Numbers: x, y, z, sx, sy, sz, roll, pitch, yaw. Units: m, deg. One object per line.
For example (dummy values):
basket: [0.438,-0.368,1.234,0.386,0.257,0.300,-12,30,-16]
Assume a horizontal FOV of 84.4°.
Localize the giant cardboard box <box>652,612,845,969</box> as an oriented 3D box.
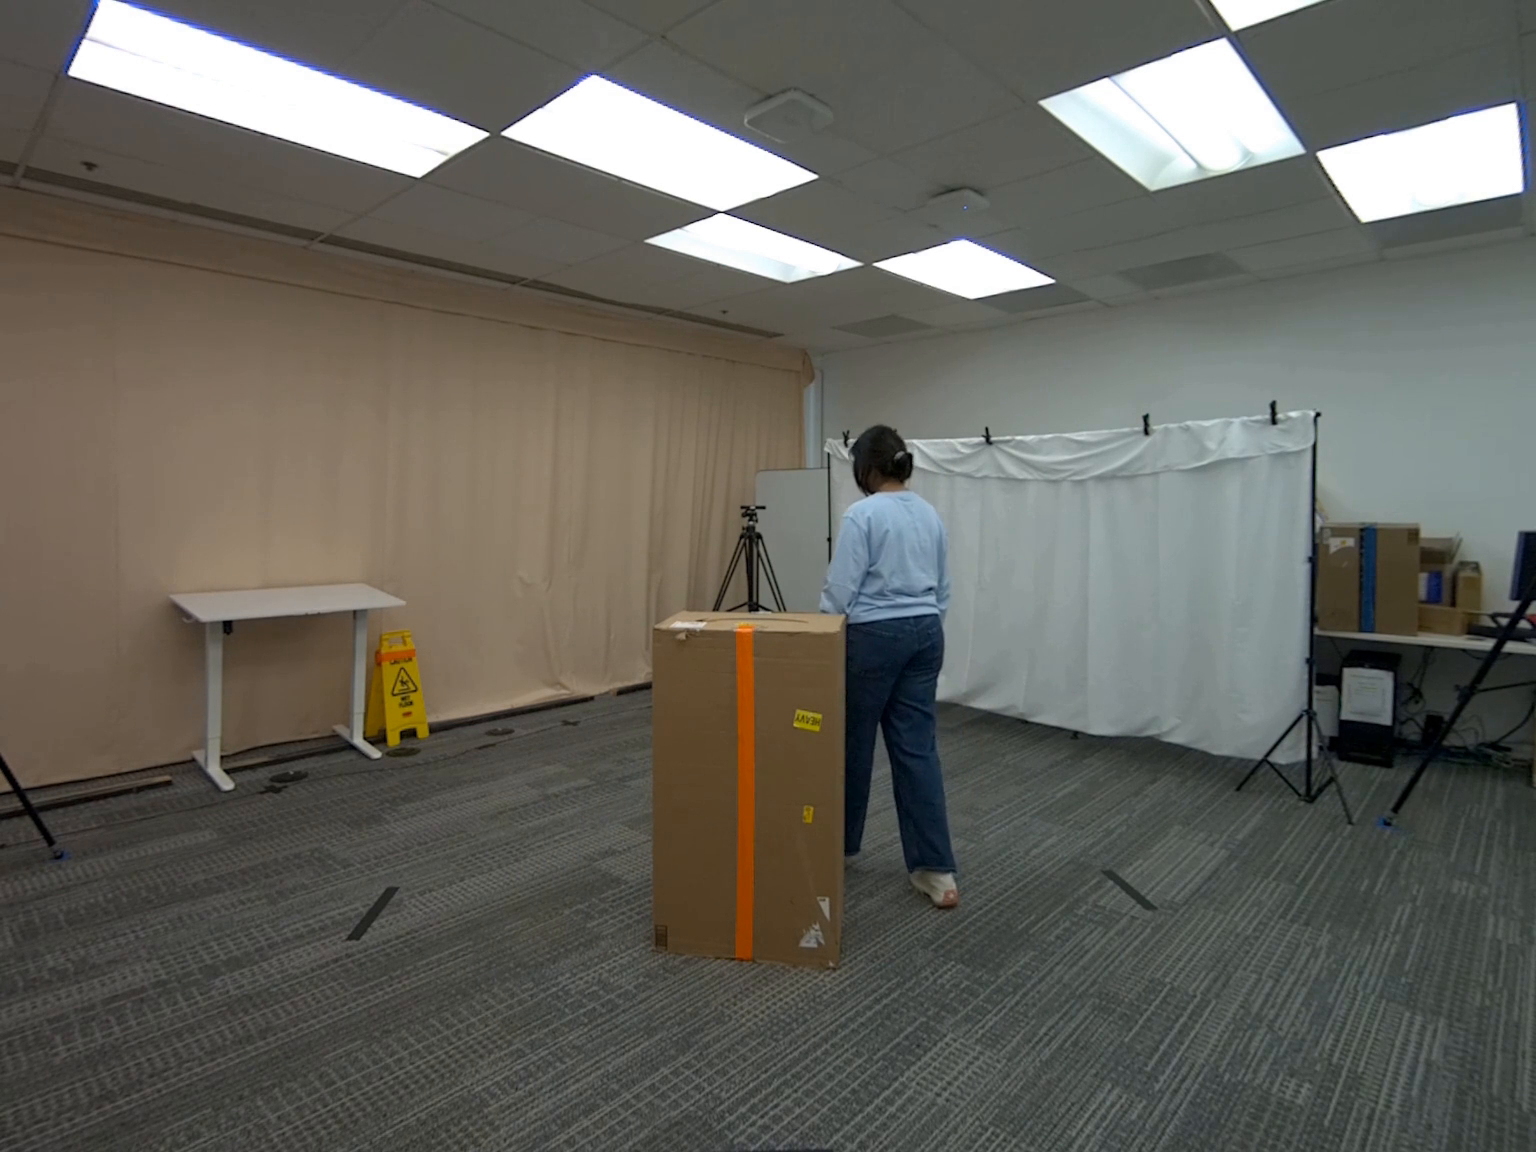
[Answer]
giant cardboard box: [-0.051,0.654,2.756,0.584,1.024,0.422,0,3,10]
